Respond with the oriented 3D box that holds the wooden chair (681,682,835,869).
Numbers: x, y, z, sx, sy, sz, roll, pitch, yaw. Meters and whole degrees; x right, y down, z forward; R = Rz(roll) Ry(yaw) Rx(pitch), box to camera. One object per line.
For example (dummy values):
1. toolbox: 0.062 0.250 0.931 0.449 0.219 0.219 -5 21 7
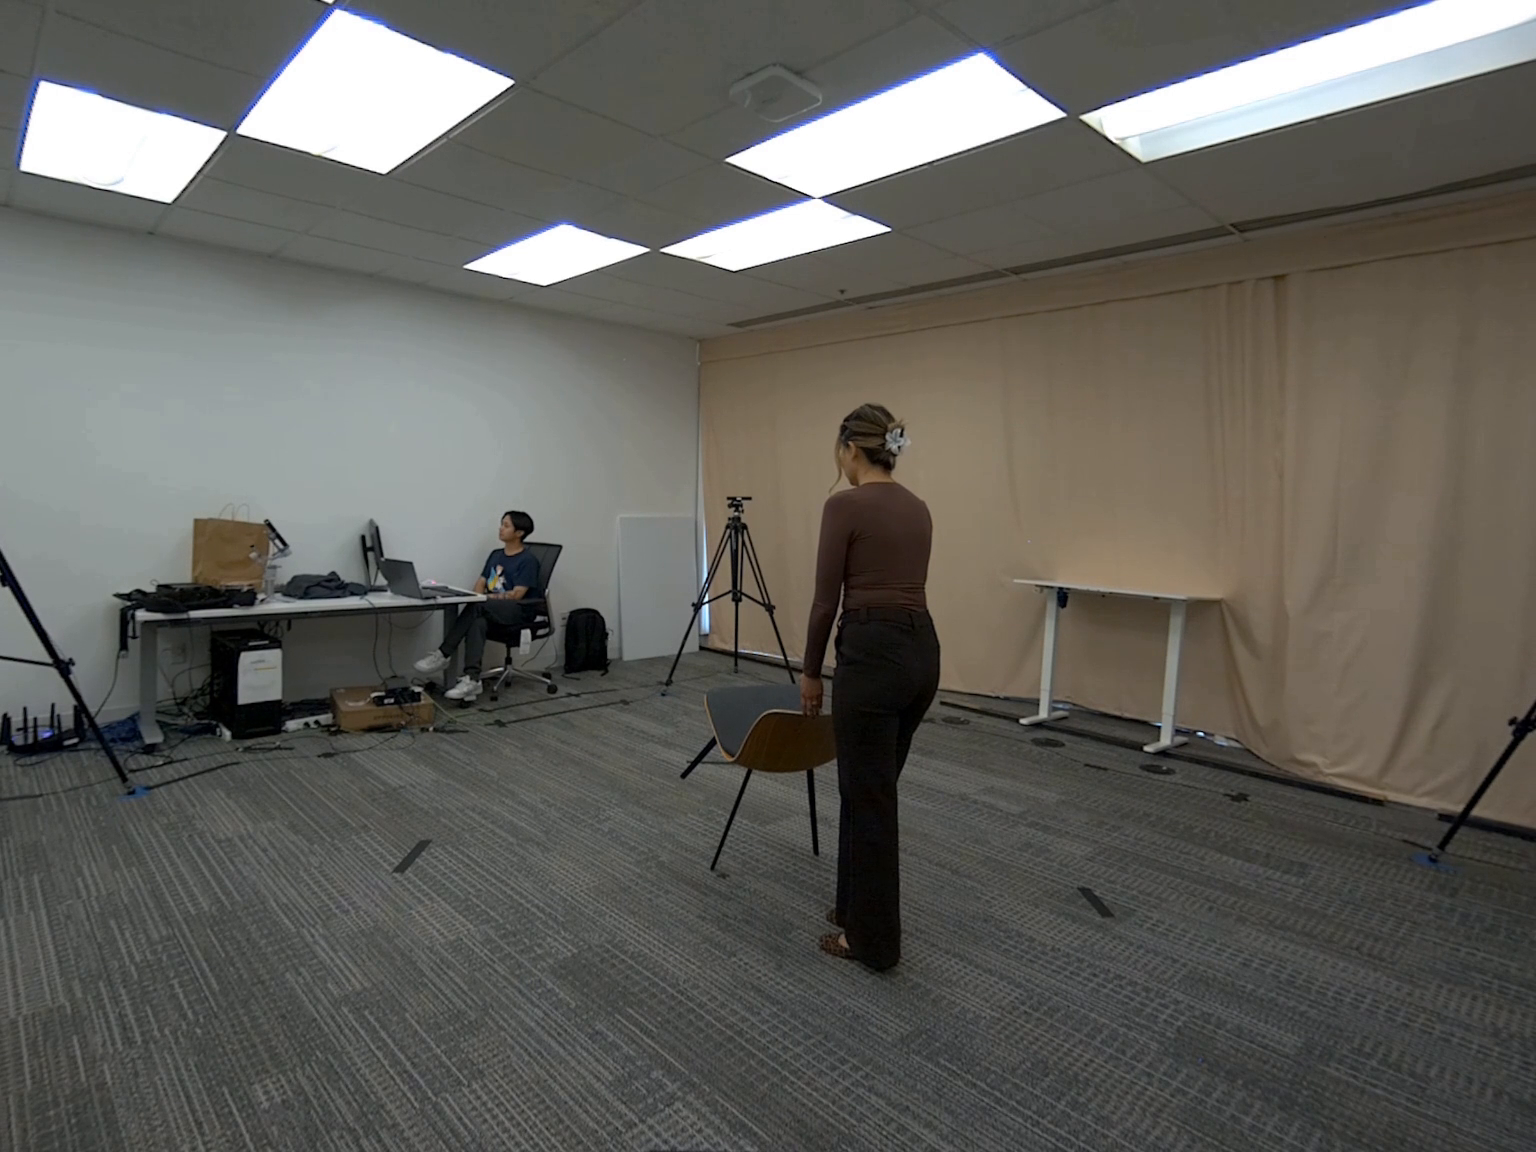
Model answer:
1. wooden chair: 0.007 0.616 3.177 0.470 0.865 0.539 0 39 -23
